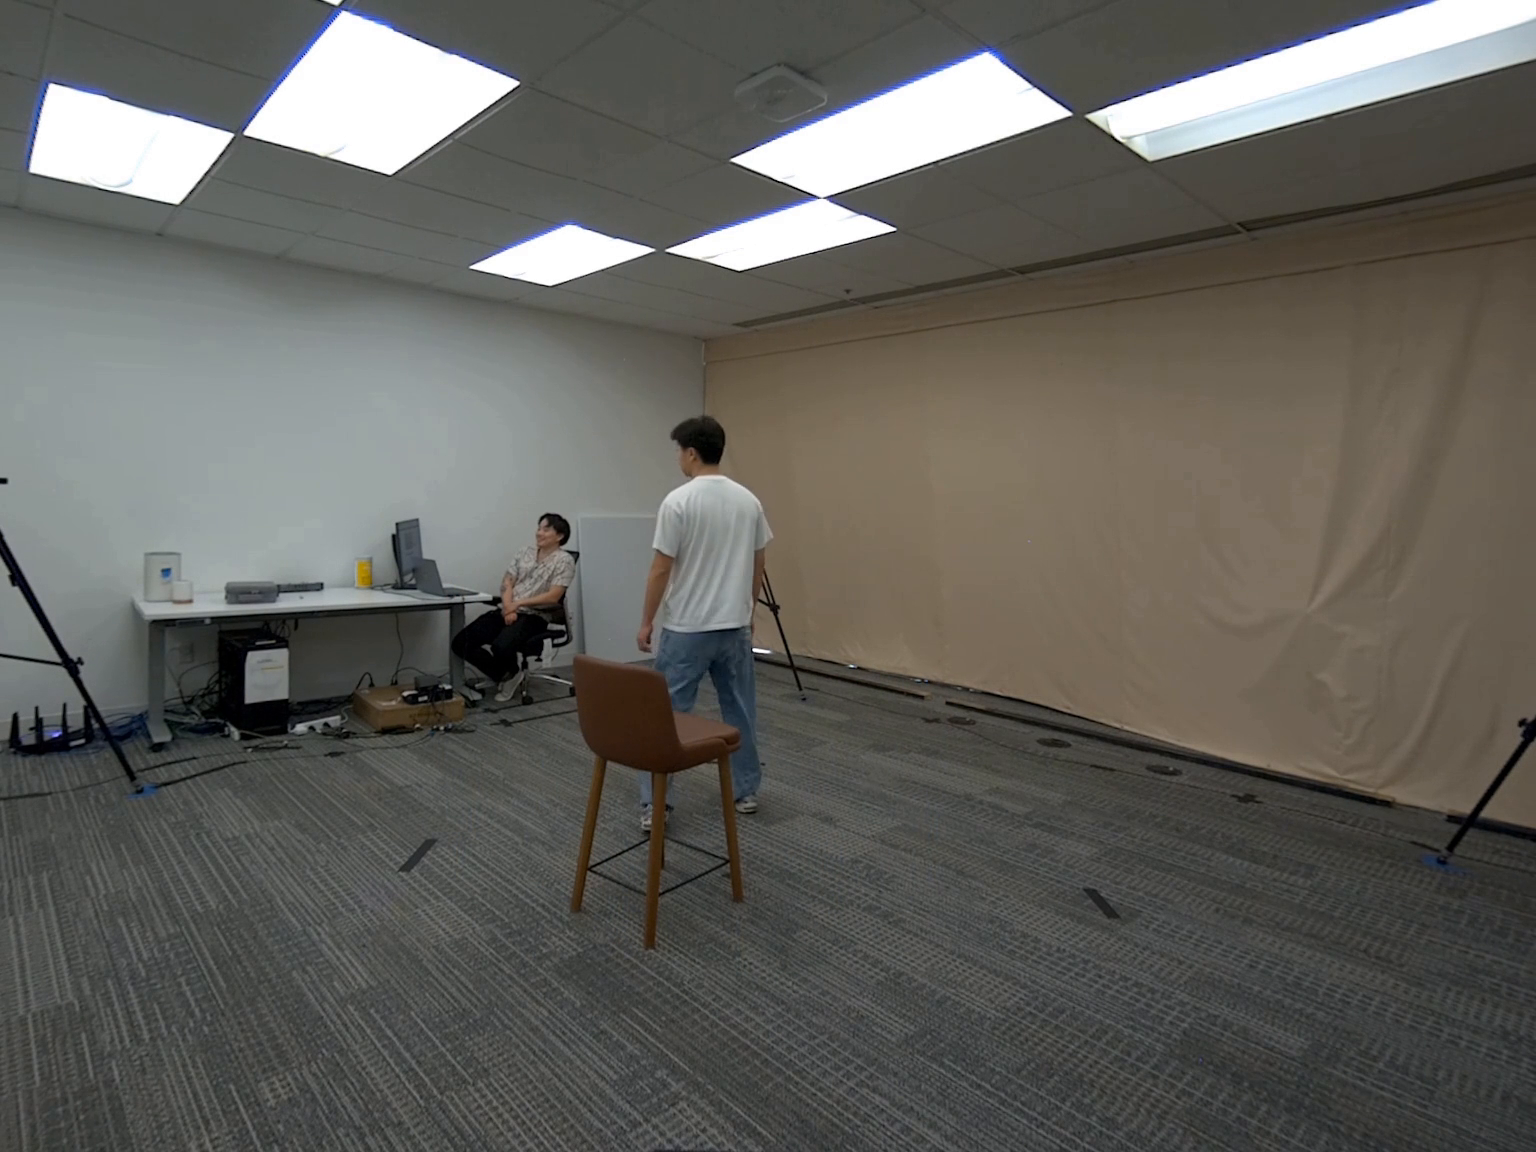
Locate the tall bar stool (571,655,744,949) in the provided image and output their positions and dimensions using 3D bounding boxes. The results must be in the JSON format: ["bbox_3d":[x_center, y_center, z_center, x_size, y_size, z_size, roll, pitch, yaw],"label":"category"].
[{"bbox_3d":[-0.387,0.691,2.845,0.468,0.887,0.458,3,6,39],"label":"tall bar stool"}]
